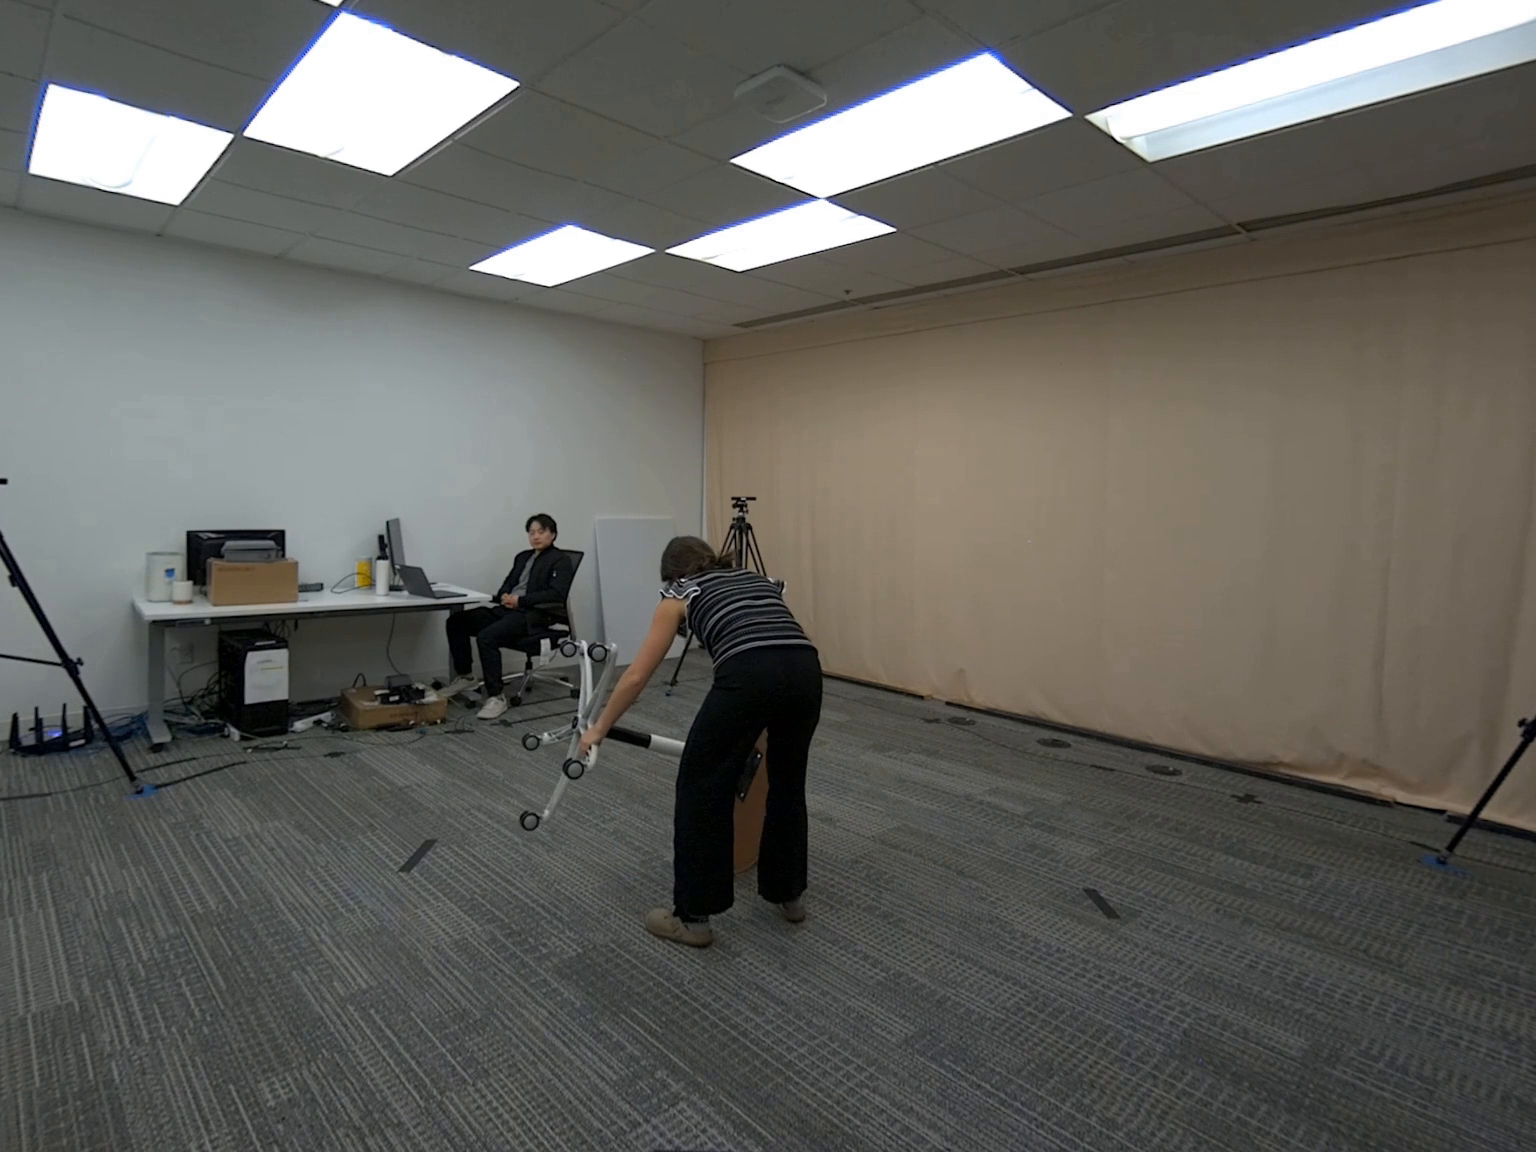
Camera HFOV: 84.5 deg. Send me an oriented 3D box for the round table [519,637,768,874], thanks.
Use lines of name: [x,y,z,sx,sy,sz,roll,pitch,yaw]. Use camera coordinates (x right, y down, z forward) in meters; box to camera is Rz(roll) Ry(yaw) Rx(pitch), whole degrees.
round table: [-0.412,0.622,3.068,0.777,0.765,0.779,20,-4,-24]
